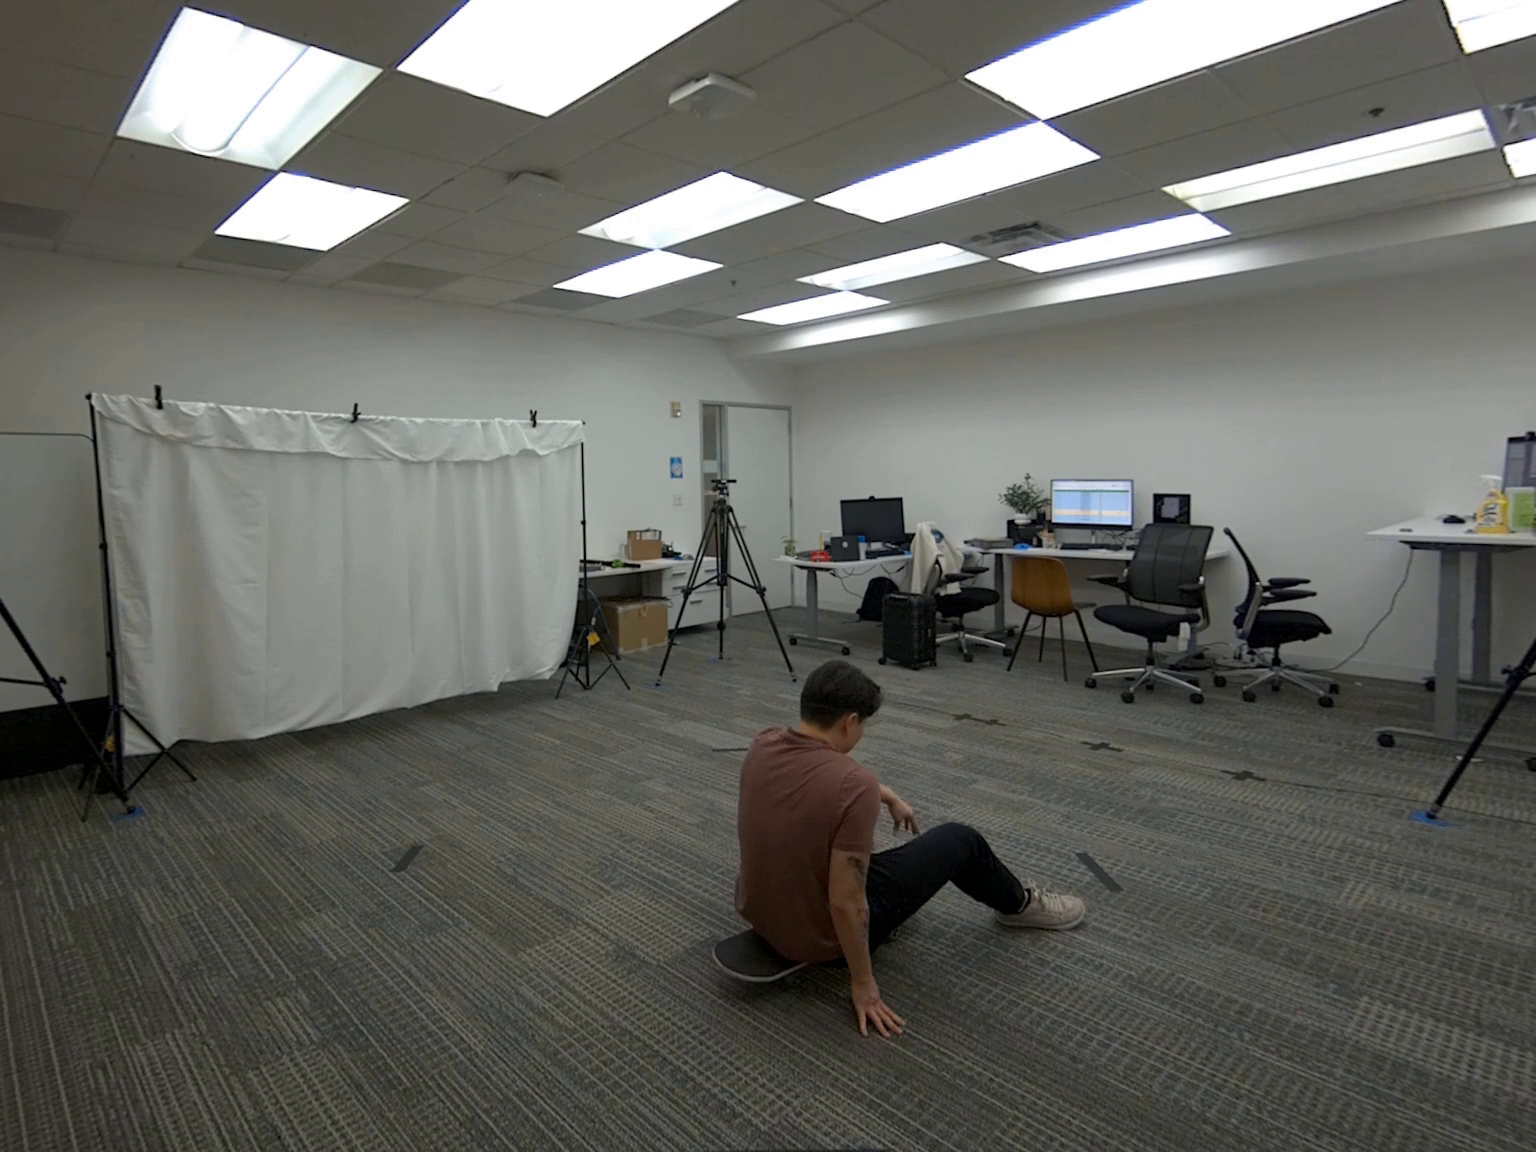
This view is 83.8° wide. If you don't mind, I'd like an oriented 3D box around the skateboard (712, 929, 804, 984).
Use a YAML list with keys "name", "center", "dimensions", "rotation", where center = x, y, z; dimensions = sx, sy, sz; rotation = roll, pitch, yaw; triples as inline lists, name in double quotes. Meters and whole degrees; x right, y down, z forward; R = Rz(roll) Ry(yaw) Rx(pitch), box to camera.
- name: "skateboard"
  center: [0.198, 1.068, 2.521]
  dimensions: [0.766, 0.109, 0.200]
  rotation: [-7, 14, -37]
